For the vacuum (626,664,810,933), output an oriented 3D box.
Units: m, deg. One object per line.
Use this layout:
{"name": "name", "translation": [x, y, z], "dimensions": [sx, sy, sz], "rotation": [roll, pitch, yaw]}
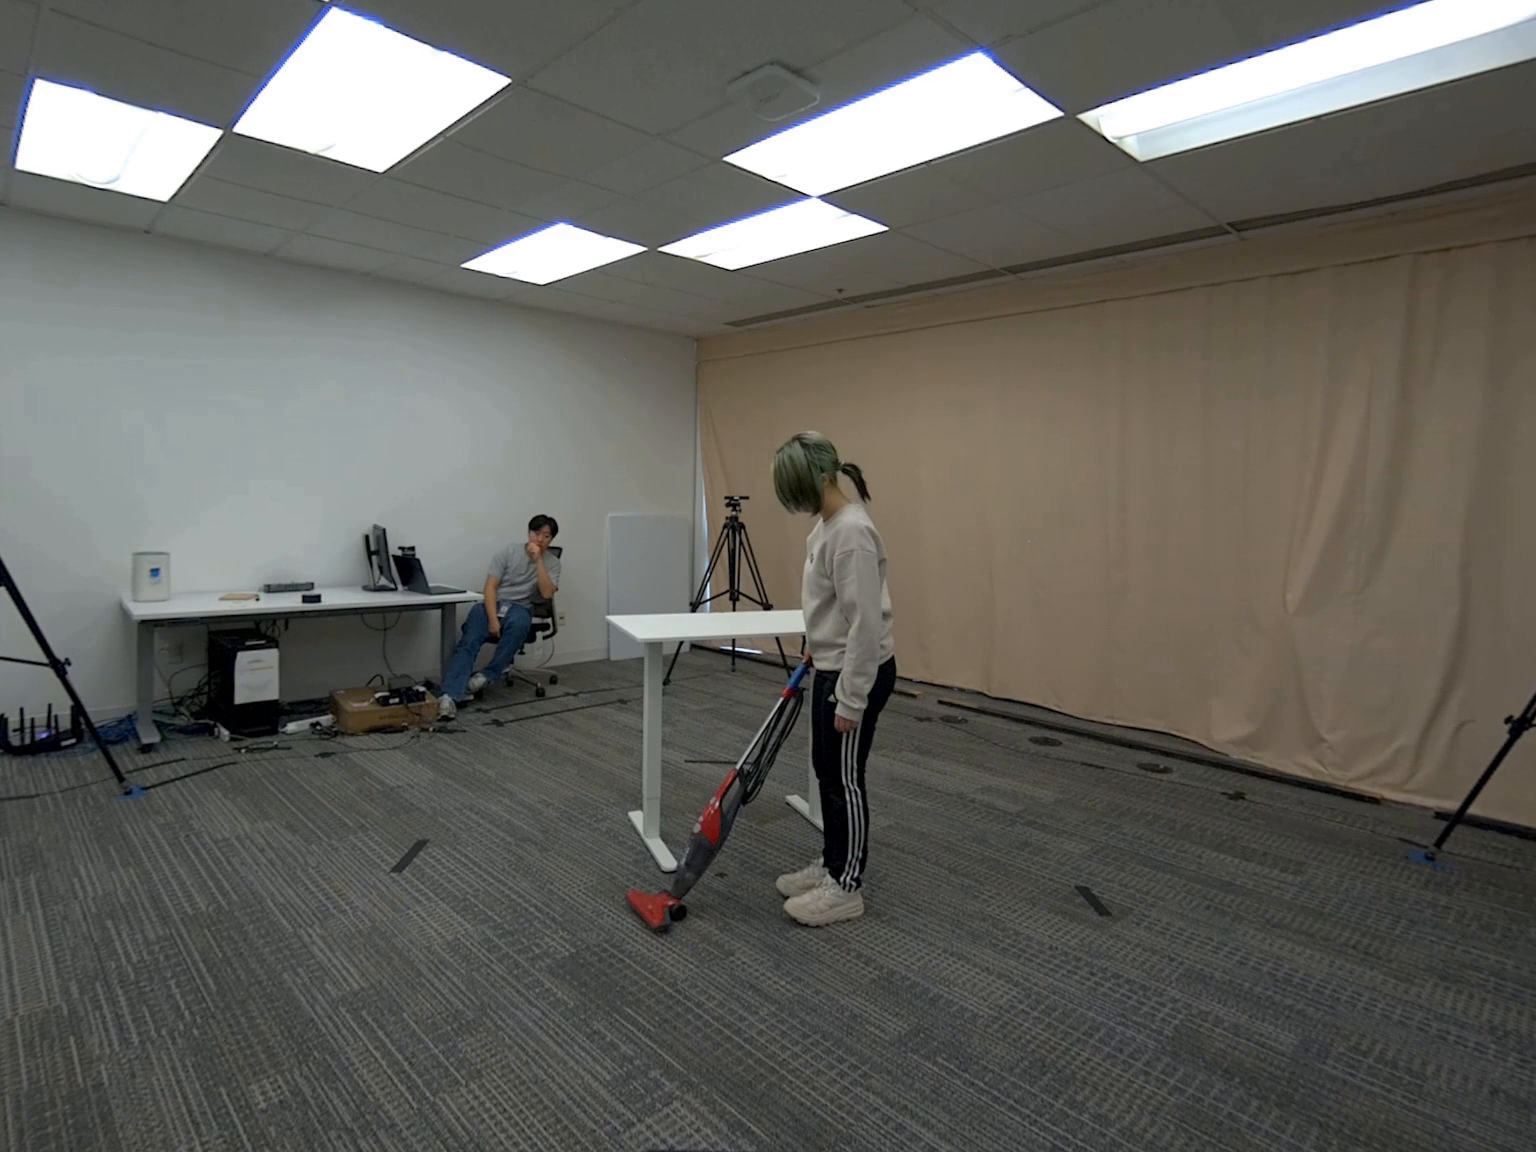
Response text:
{"name": "vacuum", "translation": [-0.089, 0.708, 2.922], "dimensions": [0.259, 1.051, 0.140], "rotation": [14, -27, 52]}
